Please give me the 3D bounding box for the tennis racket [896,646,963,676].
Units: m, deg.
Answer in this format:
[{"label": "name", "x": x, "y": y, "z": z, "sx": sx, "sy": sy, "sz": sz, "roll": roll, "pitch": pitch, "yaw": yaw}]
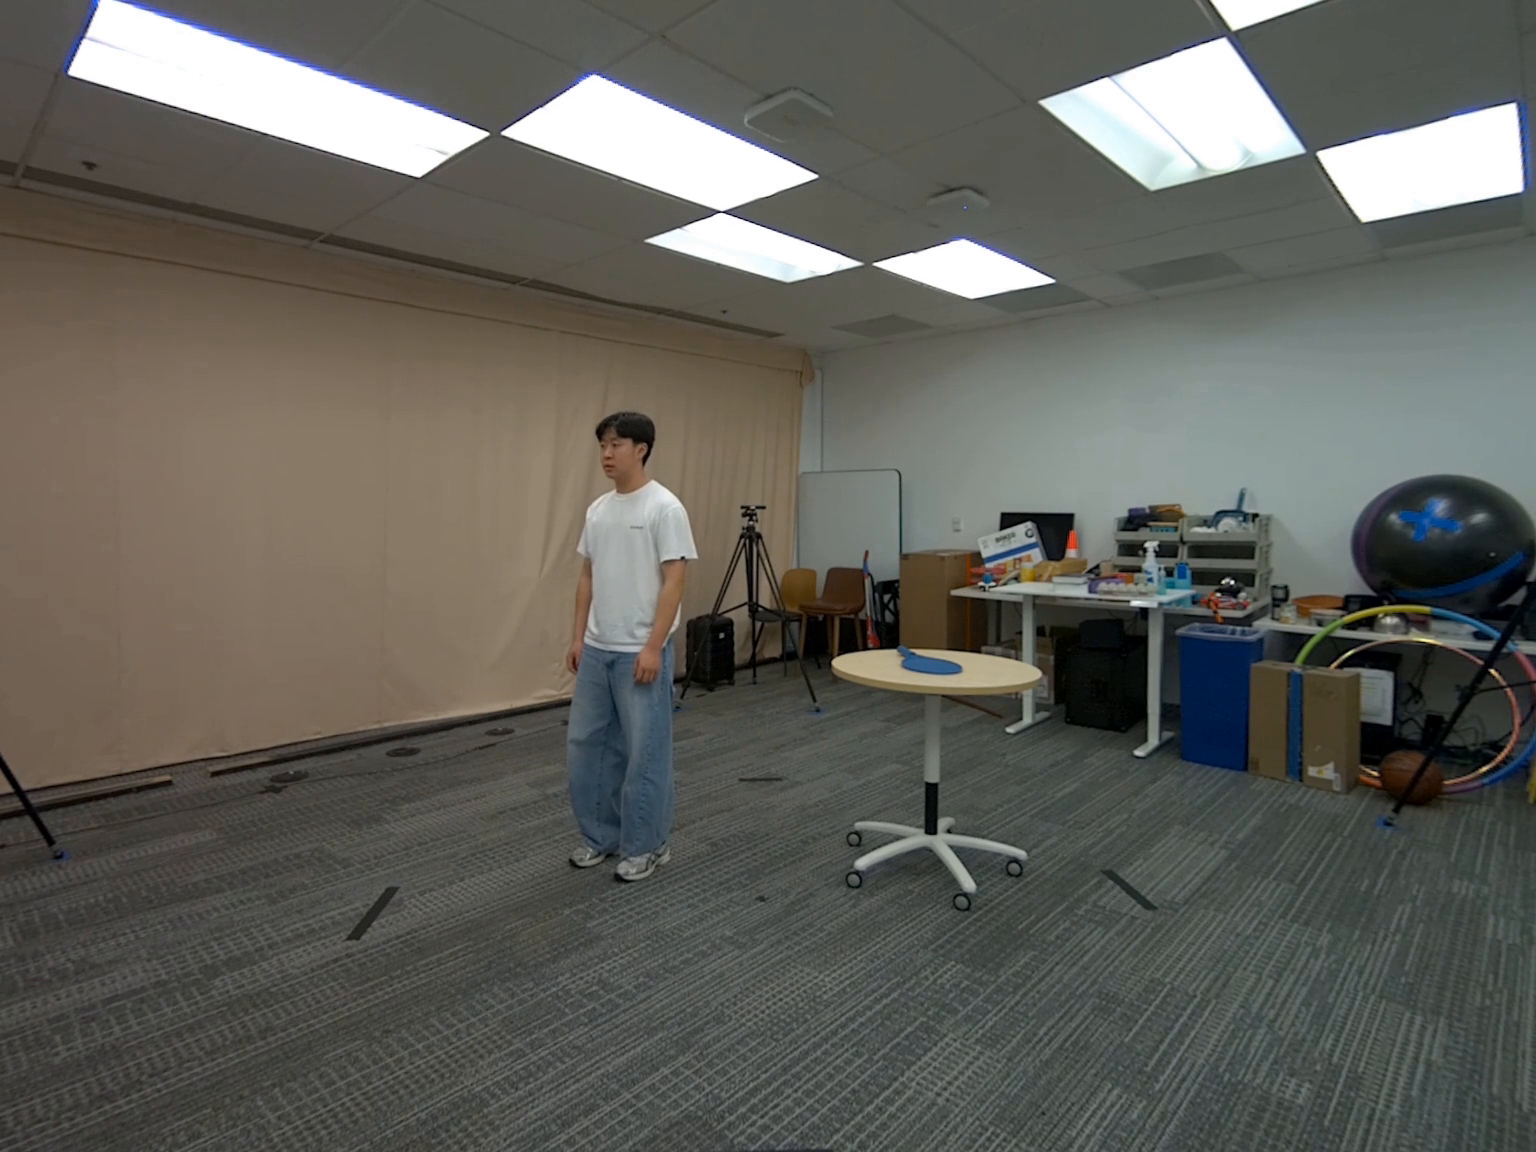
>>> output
[{"label": "tennis racket", "x": 0.596, "y": 0.326, "z": 3.232, "sx": 0.211, "sy": 0.031, "sz": 0.440, "roll": -1, "pitch": 6, "yaw": -14}]
